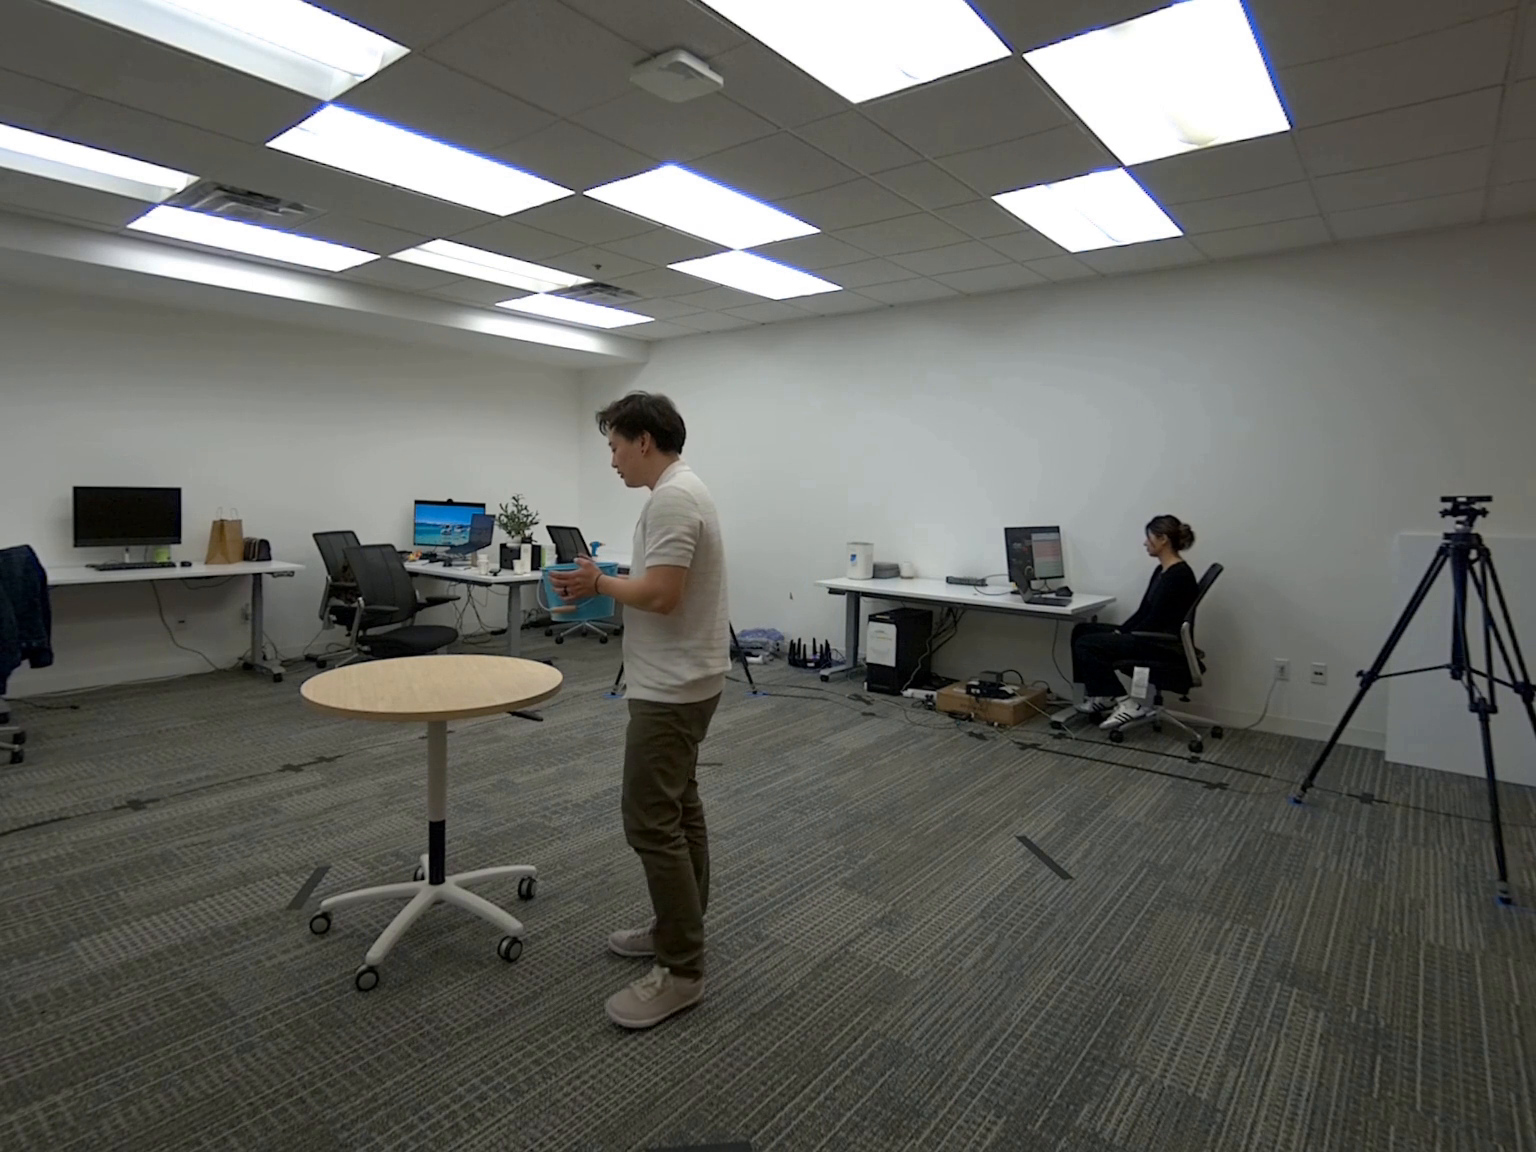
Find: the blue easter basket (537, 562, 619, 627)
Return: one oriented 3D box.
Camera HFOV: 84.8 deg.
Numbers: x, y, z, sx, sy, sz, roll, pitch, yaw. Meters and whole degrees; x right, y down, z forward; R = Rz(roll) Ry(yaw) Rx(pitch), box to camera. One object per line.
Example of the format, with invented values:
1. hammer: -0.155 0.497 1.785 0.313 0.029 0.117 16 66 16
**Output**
1. blue easter basket: -0.560 0.045 2.487 0.243 0.155 0.245 -3 4 -2
